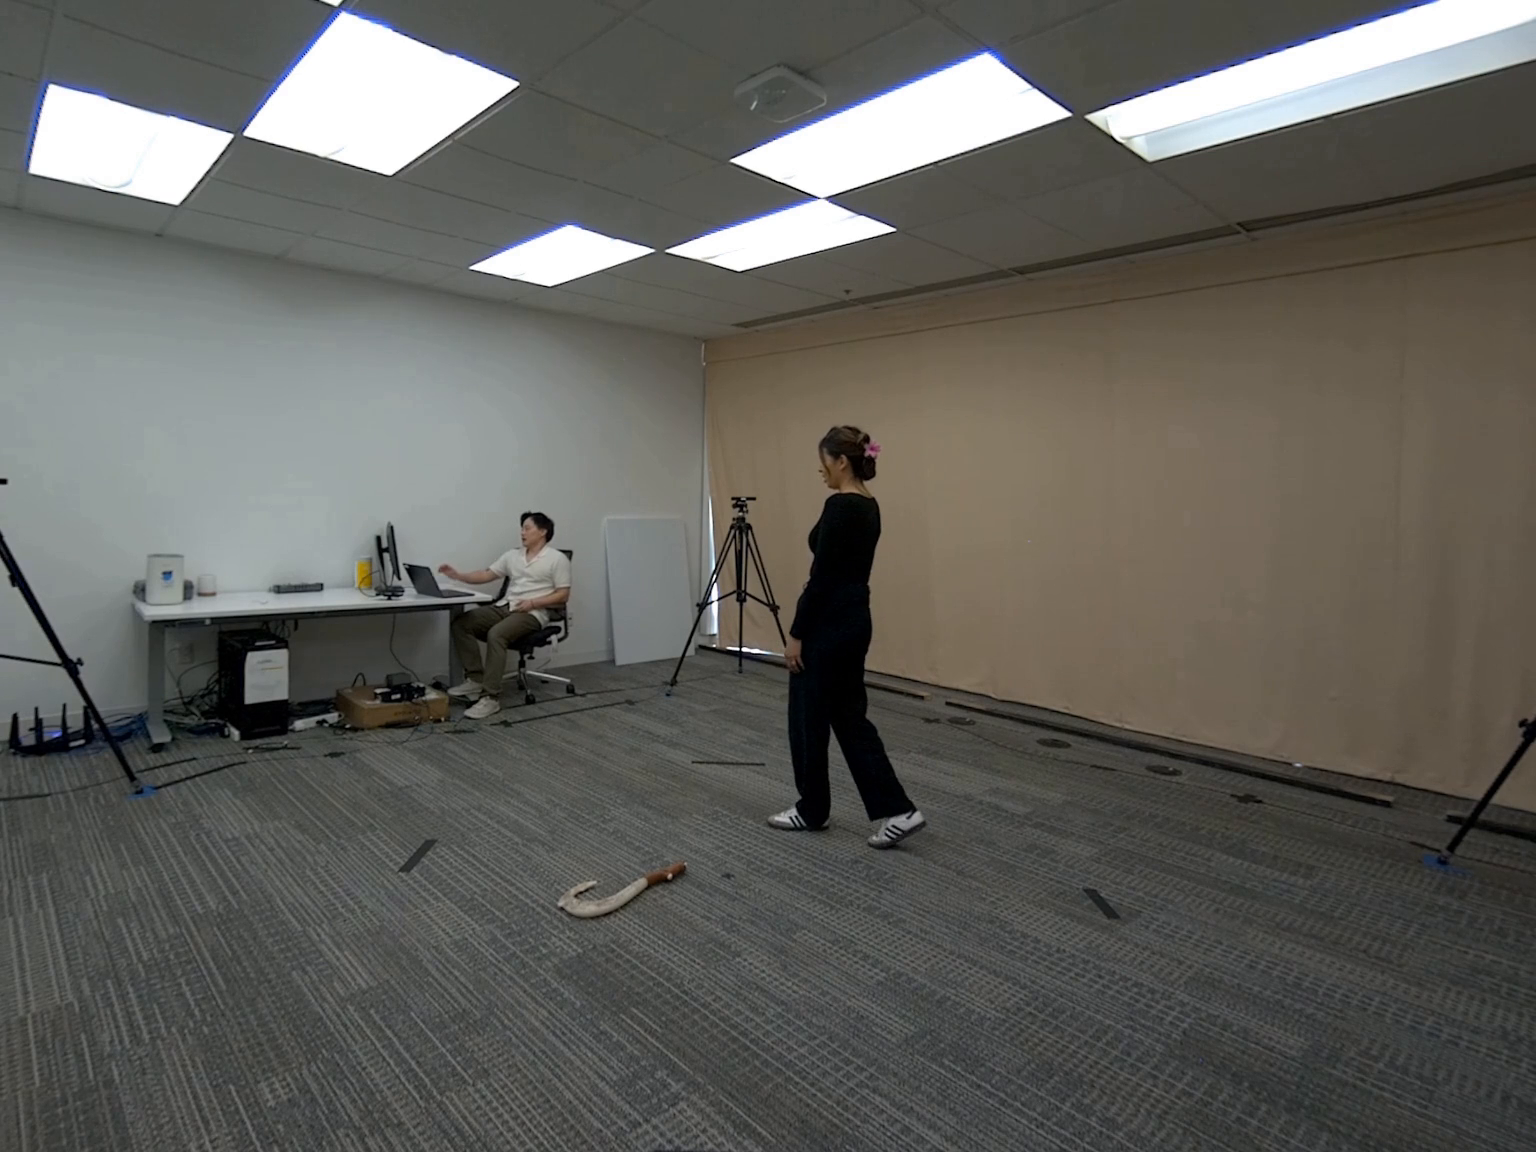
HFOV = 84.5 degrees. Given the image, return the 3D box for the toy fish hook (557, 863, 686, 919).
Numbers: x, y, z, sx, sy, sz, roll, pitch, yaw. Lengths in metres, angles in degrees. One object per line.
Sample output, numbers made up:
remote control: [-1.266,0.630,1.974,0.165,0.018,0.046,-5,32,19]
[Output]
toy fish hook: [-0.514,1.090,2.974,0.230,0.048,0.495,7,7,40]
